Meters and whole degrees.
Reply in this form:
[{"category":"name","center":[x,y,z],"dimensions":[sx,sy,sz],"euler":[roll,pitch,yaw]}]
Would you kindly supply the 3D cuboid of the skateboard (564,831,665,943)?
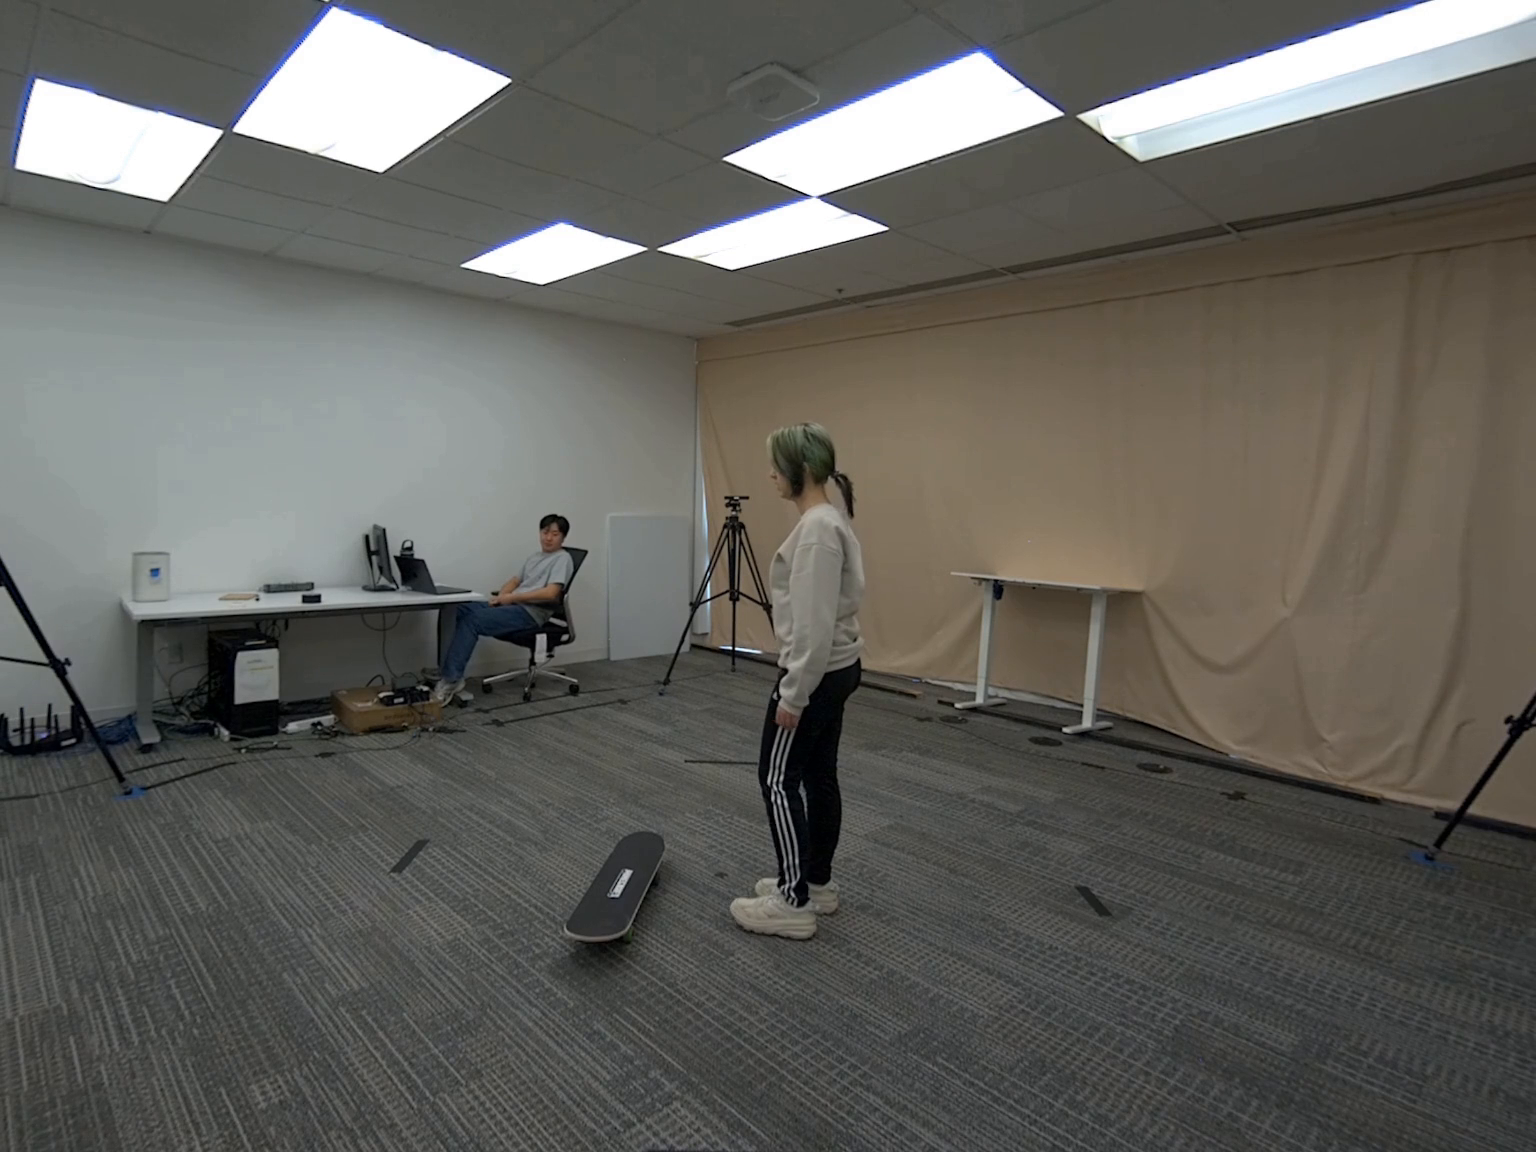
[{"category":"skateboard","center":[-0.501,1.064,2.826],"dimensions":[0.194,0.110,0.784],"euler":[1,5,3]}]
